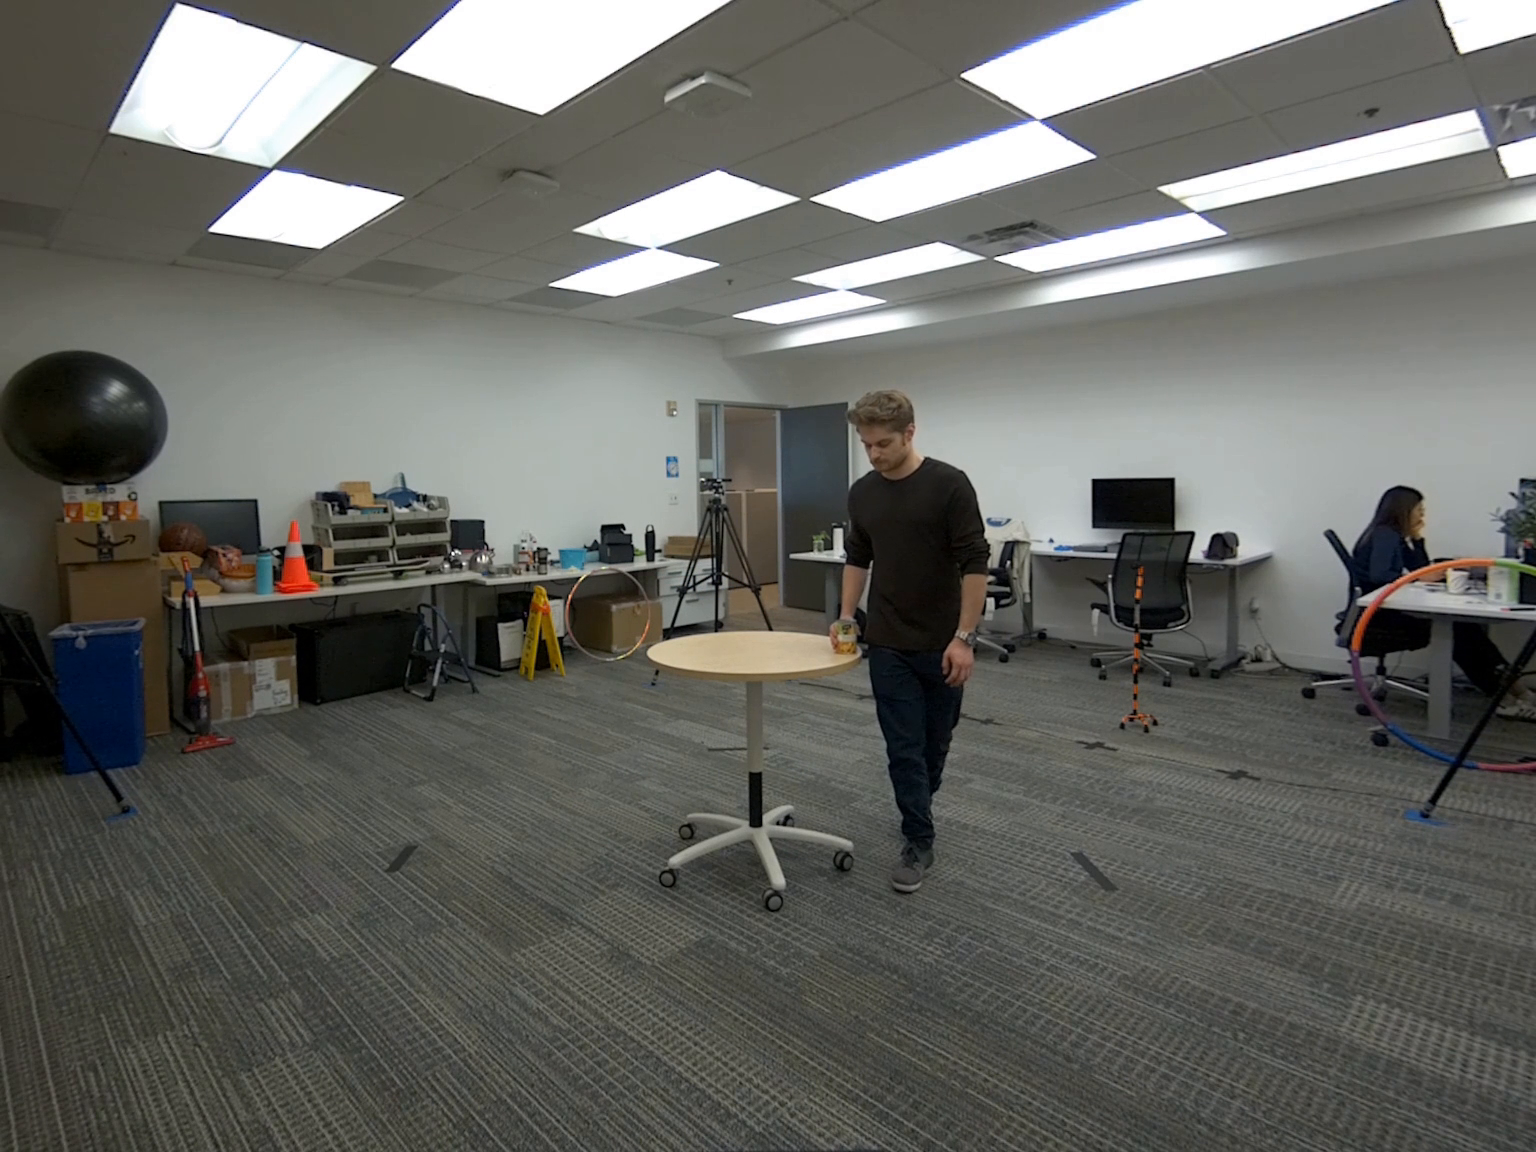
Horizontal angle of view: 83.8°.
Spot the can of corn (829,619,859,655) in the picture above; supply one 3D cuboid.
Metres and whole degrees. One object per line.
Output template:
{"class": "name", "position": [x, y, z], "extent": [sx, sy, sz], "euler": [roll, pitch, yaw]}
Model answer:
{"class": "can of corn", "position": [0.273, 0.215, 2.989], "extent": [0.074, 0.111, 0.074], "euler": [-1, -3, -2]}
